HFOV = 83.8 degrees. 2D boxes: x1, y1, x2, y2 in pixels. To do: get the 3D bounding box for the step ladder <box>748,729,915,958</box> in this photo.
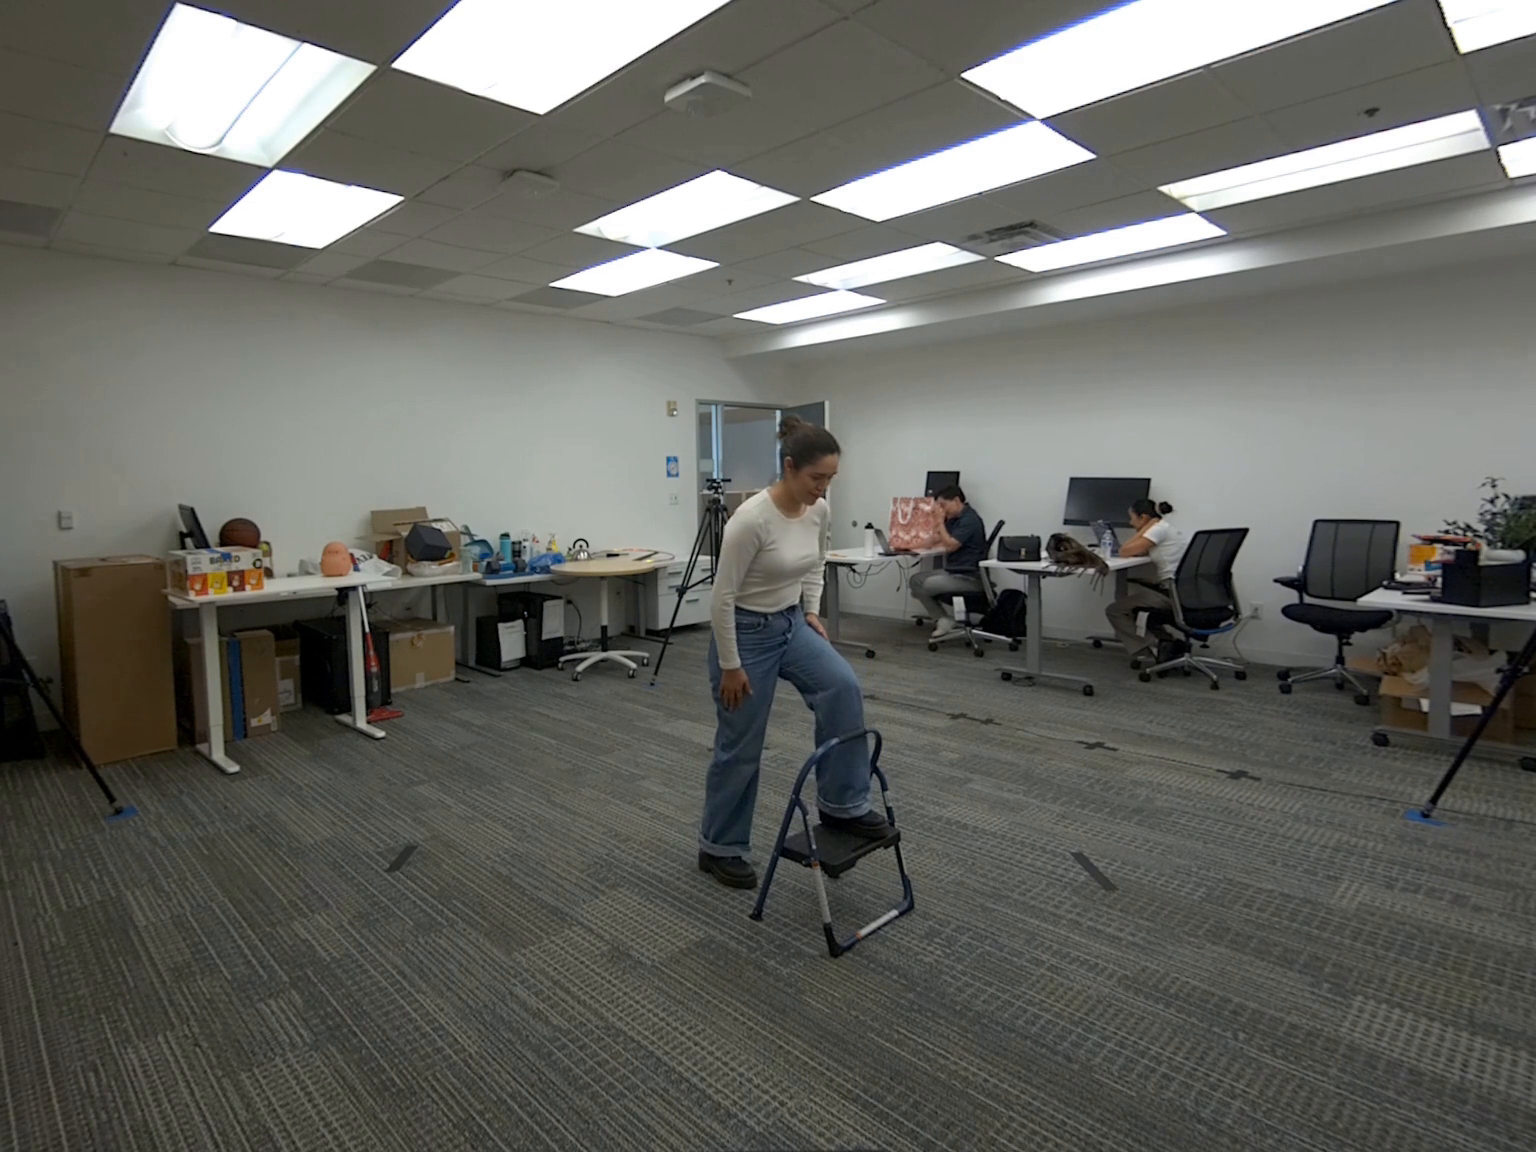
[{"bbox_3d":[0.206,0.782,2.726,0.360,0.604,0.419,3,6,44],"label":"step ladder"}]
